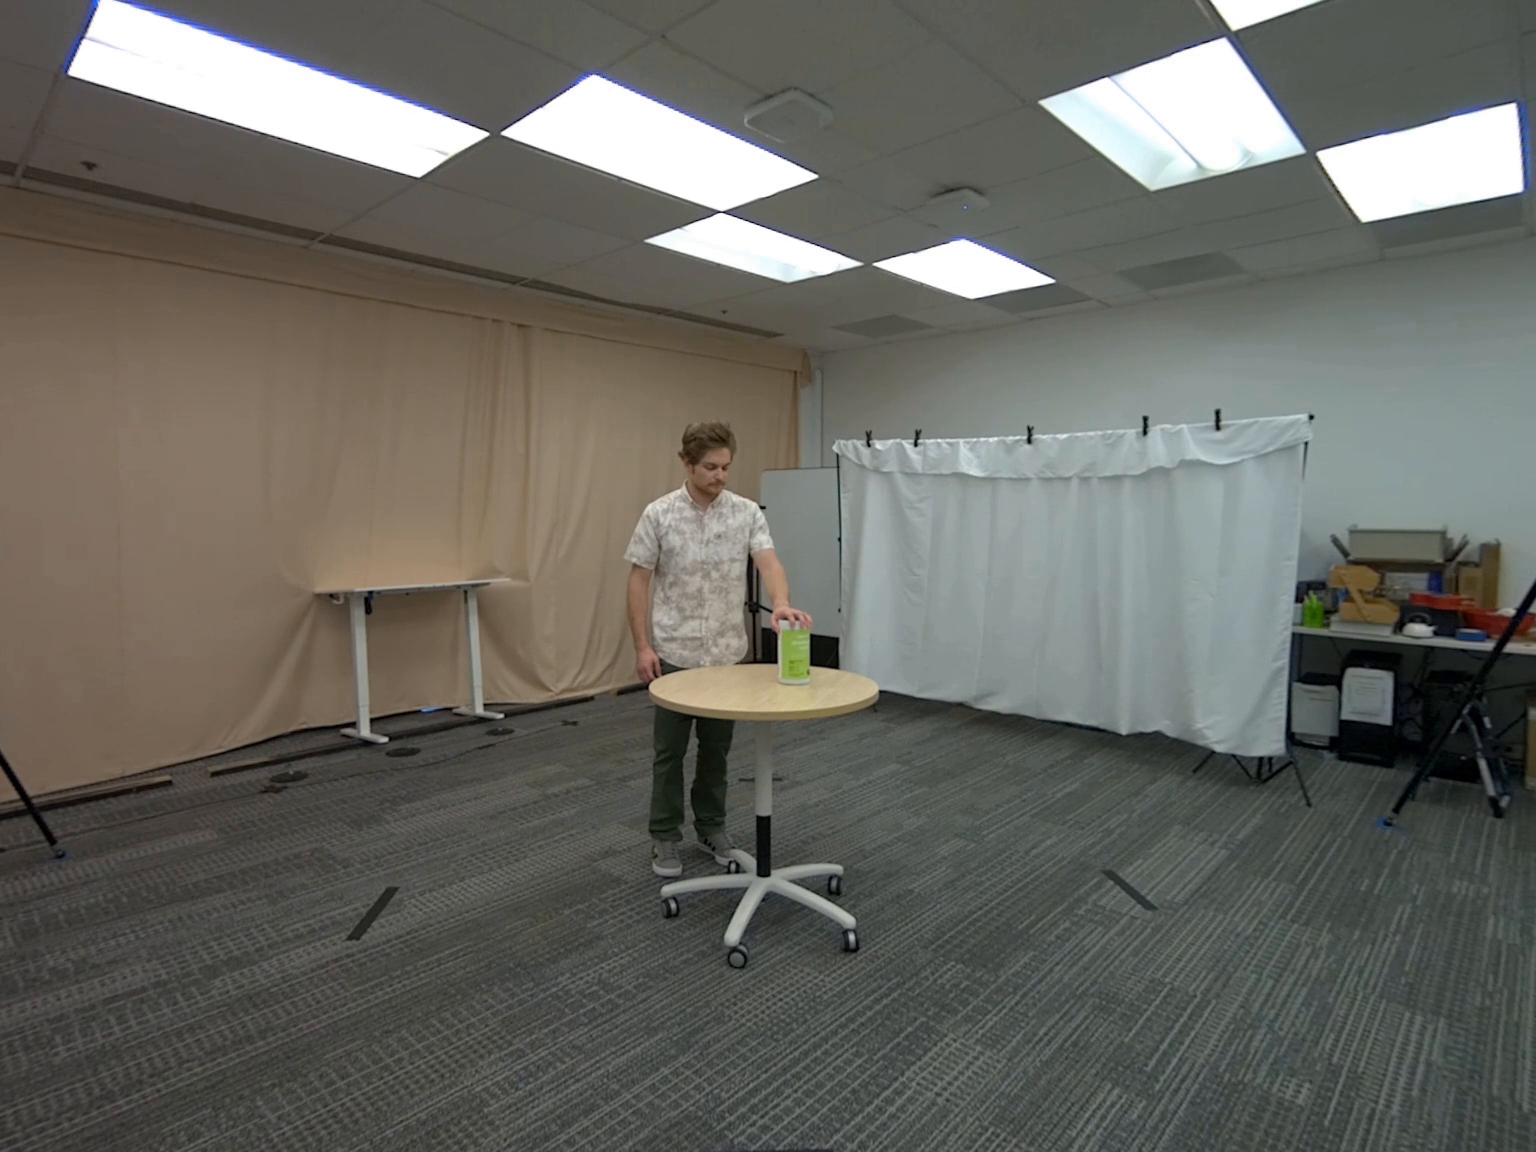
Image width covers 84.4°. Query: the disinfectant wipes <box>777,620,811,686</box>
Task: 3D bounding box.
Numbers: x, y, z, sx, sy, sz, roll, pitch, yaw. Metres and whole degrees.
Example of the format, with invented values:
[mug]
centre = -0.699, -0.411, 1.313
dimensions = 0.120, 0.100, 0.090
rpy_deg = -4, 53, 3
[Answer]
[disinfectant wipes]
centre = 0.089, 0.256, 2.861
dimensions = 0.117, 0.217, 0.118
rpy_deg = 2, 4, -2
